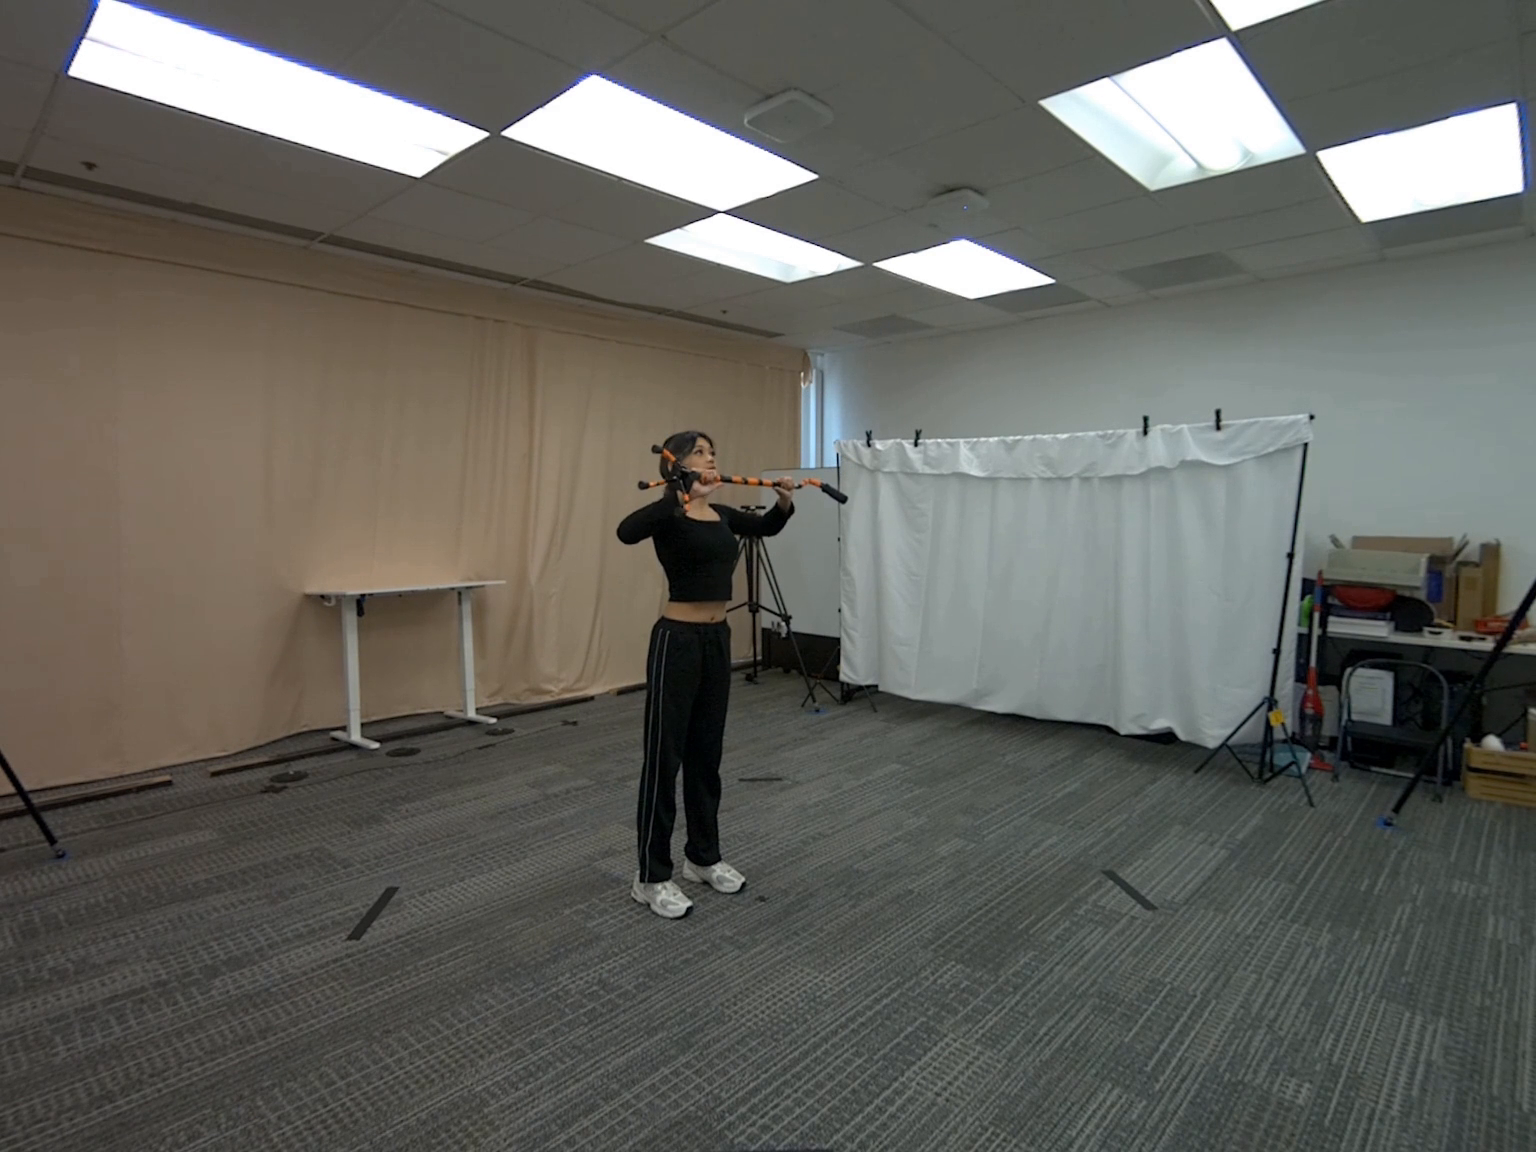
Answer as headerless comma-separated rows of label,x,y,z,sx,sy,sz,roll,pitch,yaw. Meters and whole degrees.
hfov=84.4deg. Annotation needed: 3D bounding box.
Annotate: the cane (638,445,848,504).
cane,-0.032,-0.310,2.893,0.213,0.151,0.880,37,24,31
